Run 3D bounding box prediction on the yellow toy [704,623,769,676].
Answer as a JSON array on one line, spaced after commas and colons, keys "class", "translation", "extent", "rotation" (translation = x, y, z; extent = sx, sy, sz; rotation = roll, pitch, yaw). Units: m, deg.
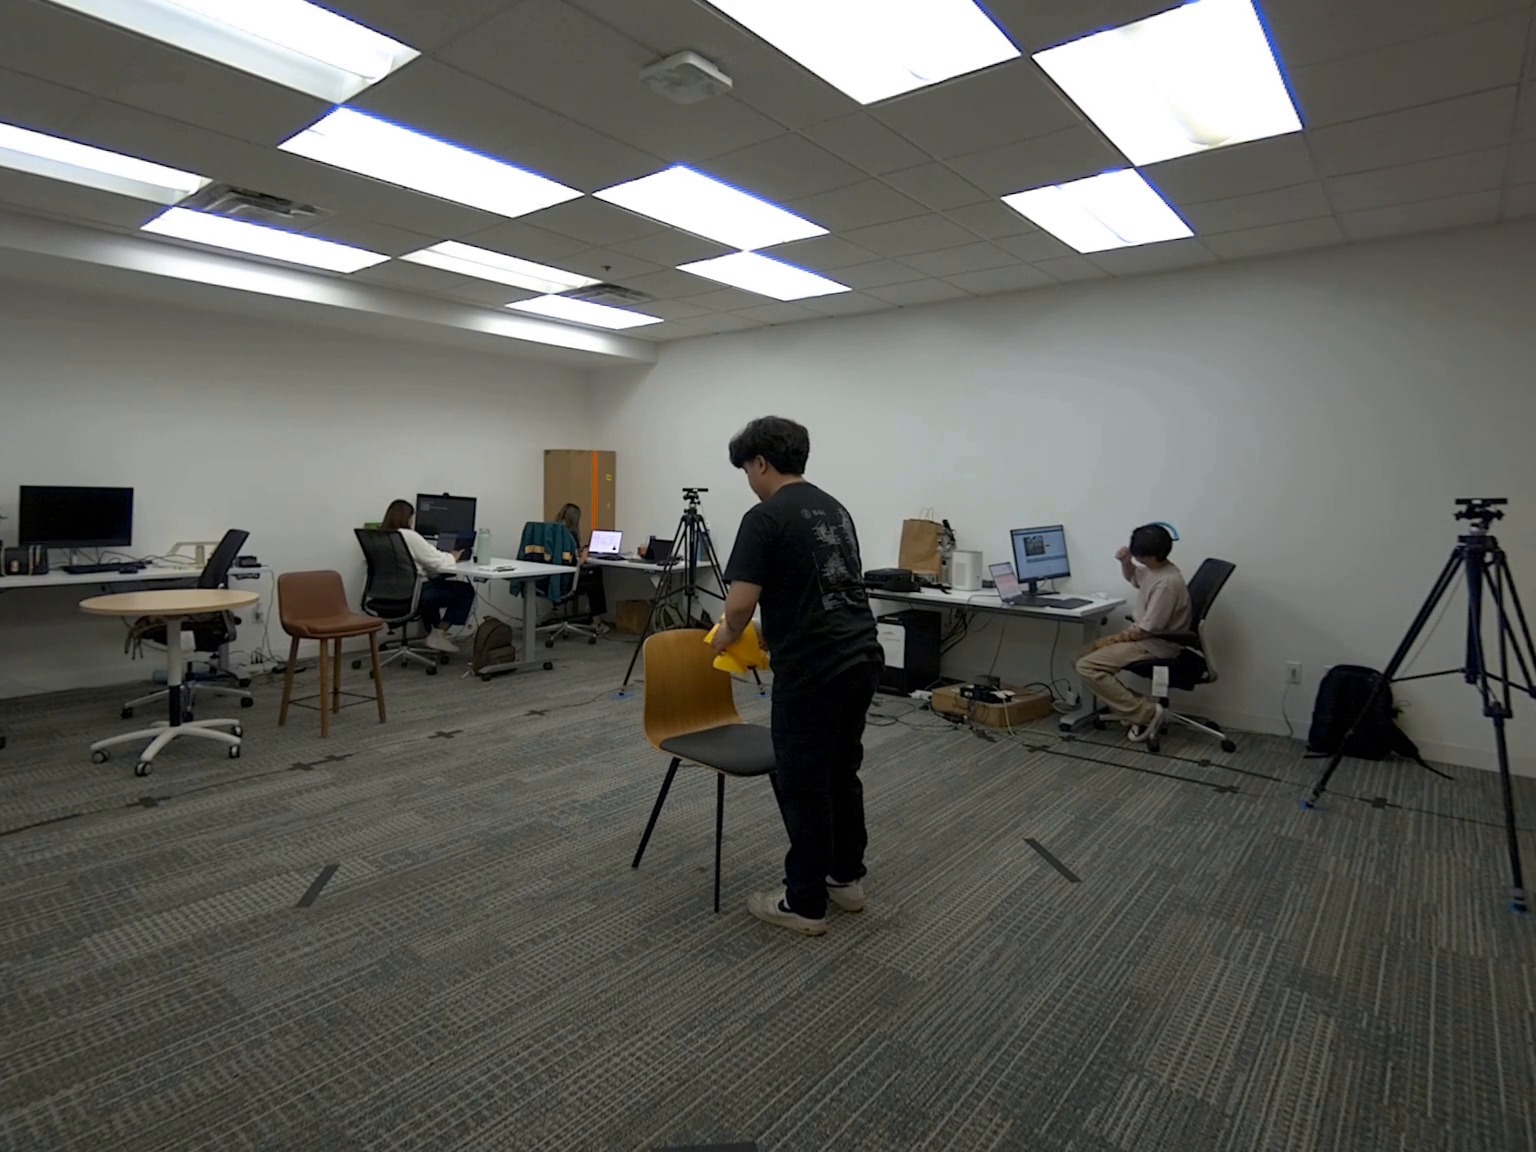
[{"class": "yellow toy", "translation": [-0.093, 0.208, 2.968], "extent": [0.198, 0.229, 0.200], "rotation": [0, 8, -45]}]
